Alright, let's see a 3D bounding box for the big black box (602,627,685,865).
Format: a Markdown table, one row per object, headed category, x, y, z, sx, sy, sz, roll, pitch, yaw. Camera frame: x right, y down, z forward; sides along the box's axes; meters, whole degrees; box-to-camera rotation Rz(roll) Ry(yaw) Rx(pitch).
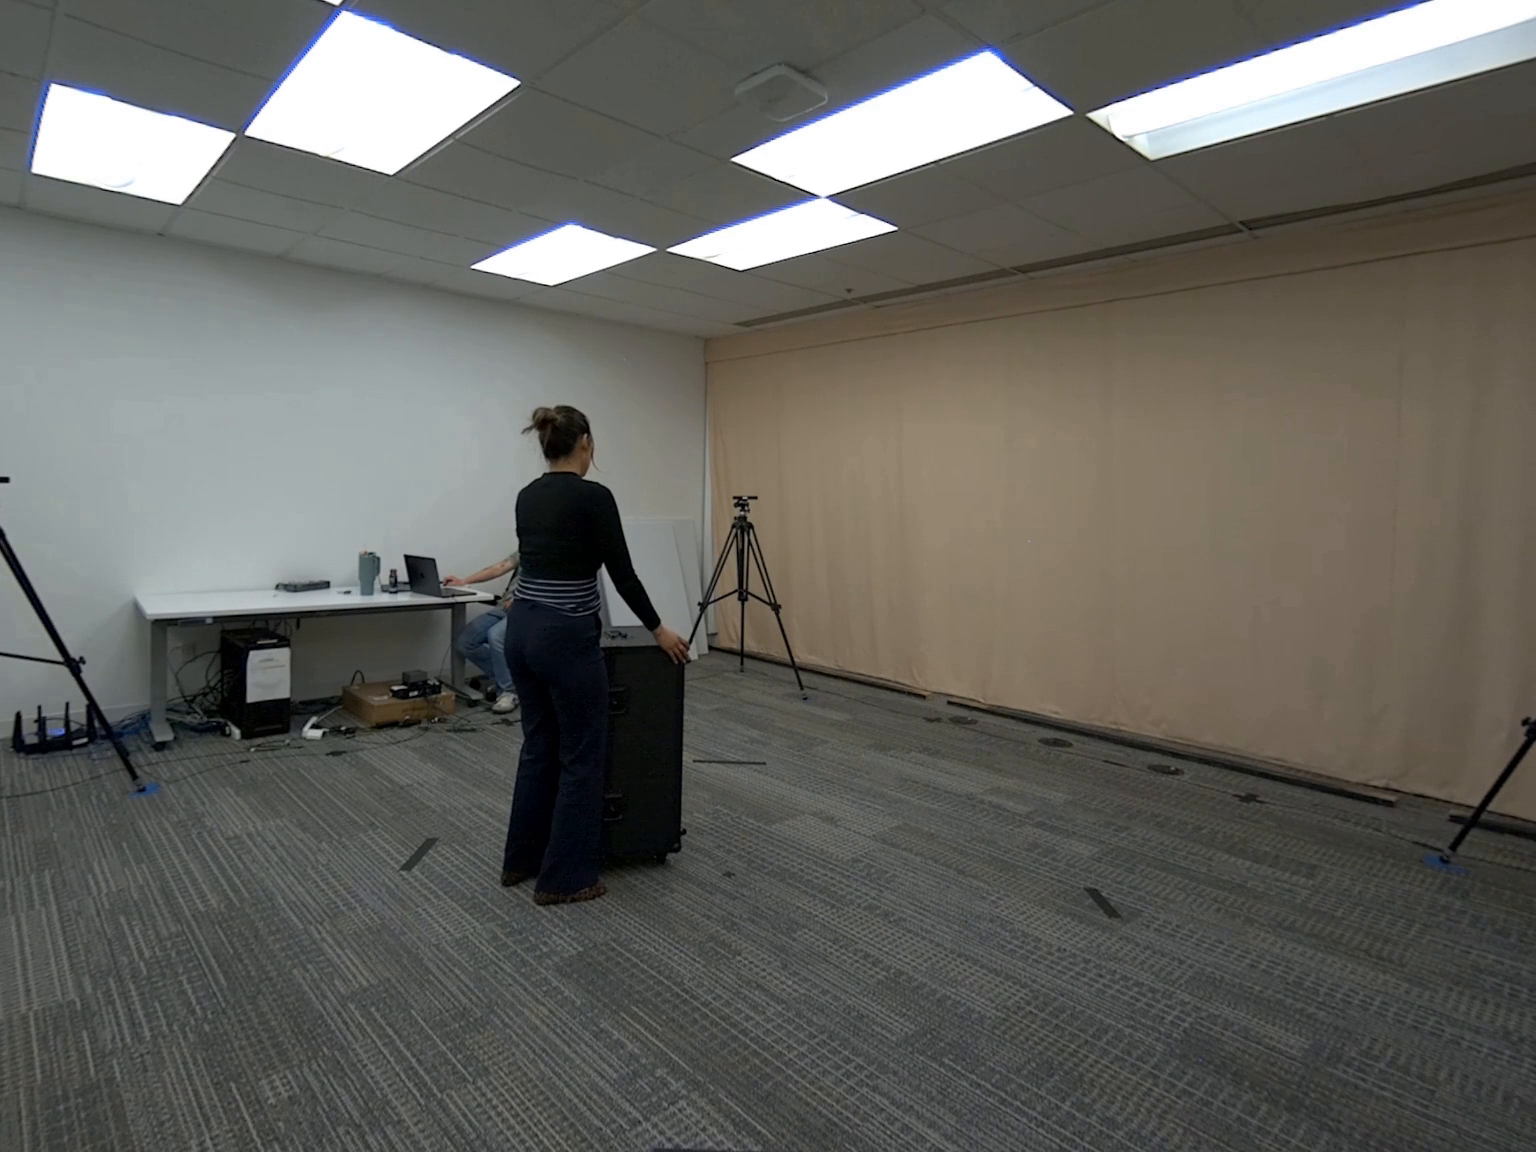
| category | x | y | z | sx | sy | sz | roll | pitch | yaw |
| --- | --- | --- | --- | --- | --- | --- | --- | --- | --- |
| big black box | -0.565 | 0.653 | 3.280 | 0.389 | 0.860 | 0.531 | 1 | 3 | -24 |
